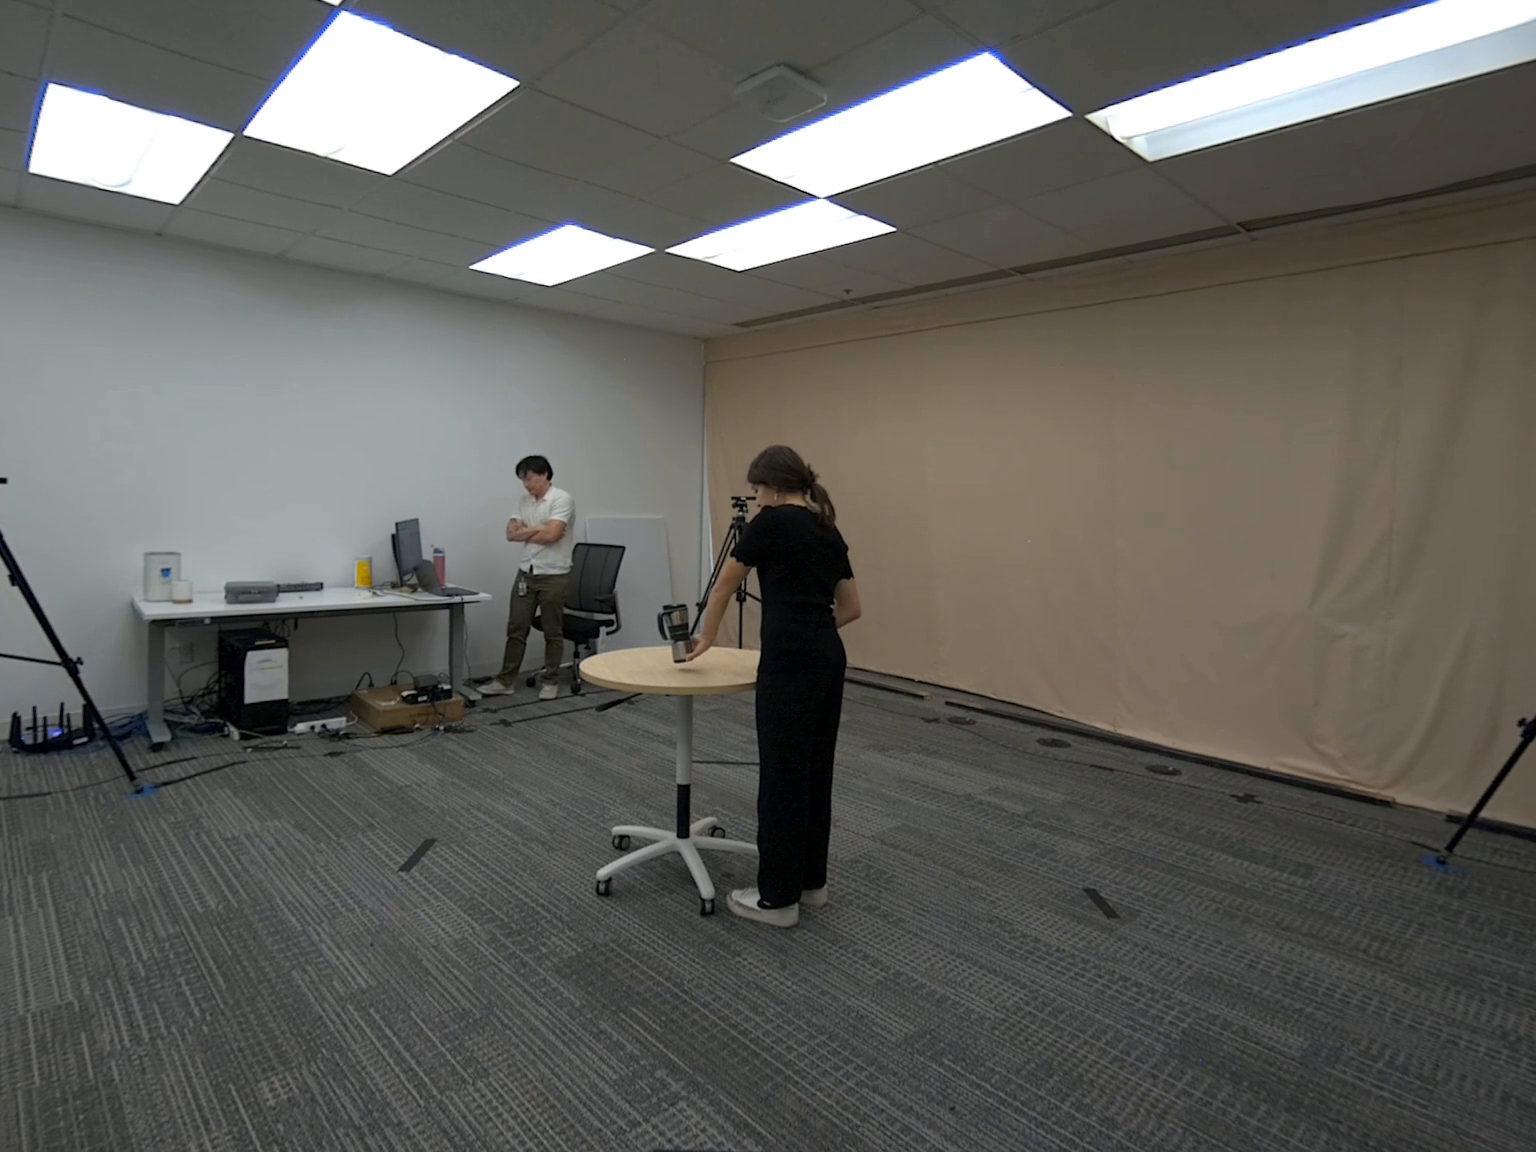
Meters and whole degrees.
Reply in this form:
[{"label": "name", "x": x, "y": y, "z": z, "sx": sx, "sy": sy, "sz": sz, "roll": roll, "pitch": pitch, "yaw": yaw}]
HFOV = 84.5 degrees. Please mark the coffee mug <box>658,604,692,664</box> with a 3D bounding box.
[{"label": "coffee mug", "x": -0.336, "y": 0.204, "z": 2.941, "sx": 0.121, "sy": 0.203, "sz": 0.088, "roll": -6, "pitch": -1, "yaw": -12}]
